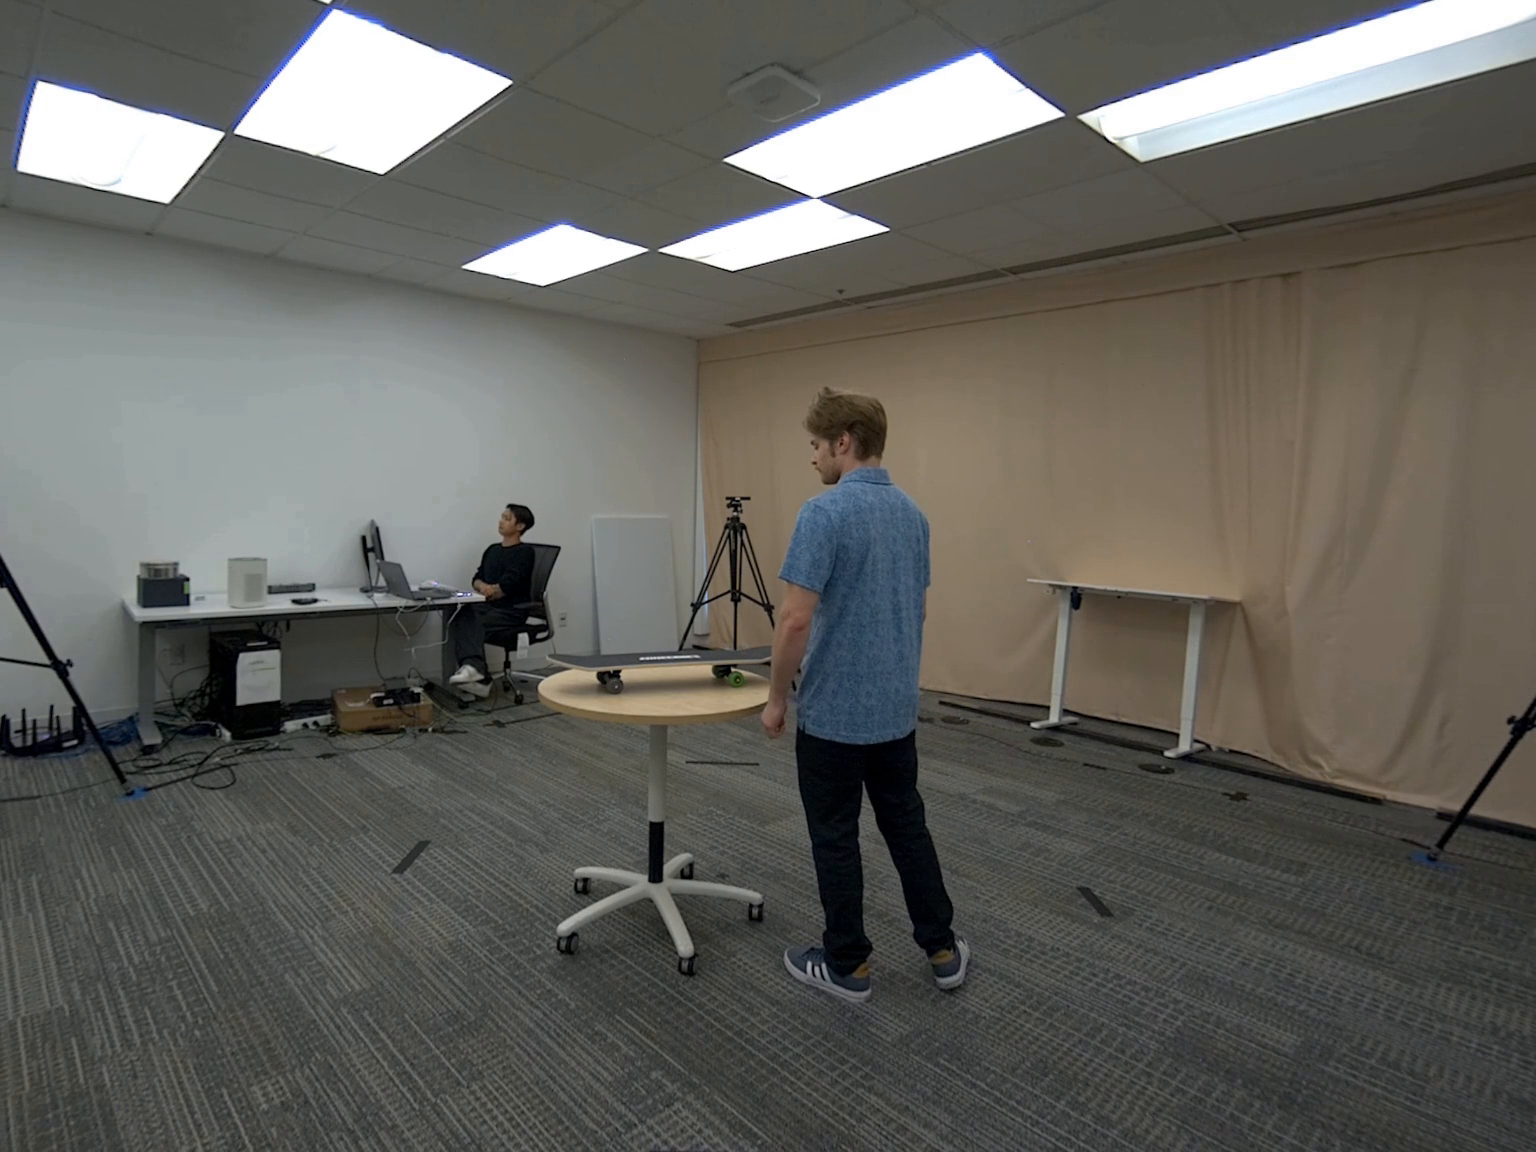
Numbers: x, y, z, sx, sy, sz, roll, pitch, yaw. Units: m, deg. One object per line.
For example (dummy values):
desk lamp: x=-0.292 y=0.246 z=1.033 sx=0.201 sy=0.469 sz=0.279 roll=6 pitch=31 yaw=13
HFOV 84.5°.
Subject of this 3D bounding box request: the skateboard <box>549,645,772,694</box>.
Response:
skateboard: x=-0.321 y=0.306 z=2.707 sx=0.773 sy=0.110 sz=0.197 roll=-1 pitch=6 yaw=-21
